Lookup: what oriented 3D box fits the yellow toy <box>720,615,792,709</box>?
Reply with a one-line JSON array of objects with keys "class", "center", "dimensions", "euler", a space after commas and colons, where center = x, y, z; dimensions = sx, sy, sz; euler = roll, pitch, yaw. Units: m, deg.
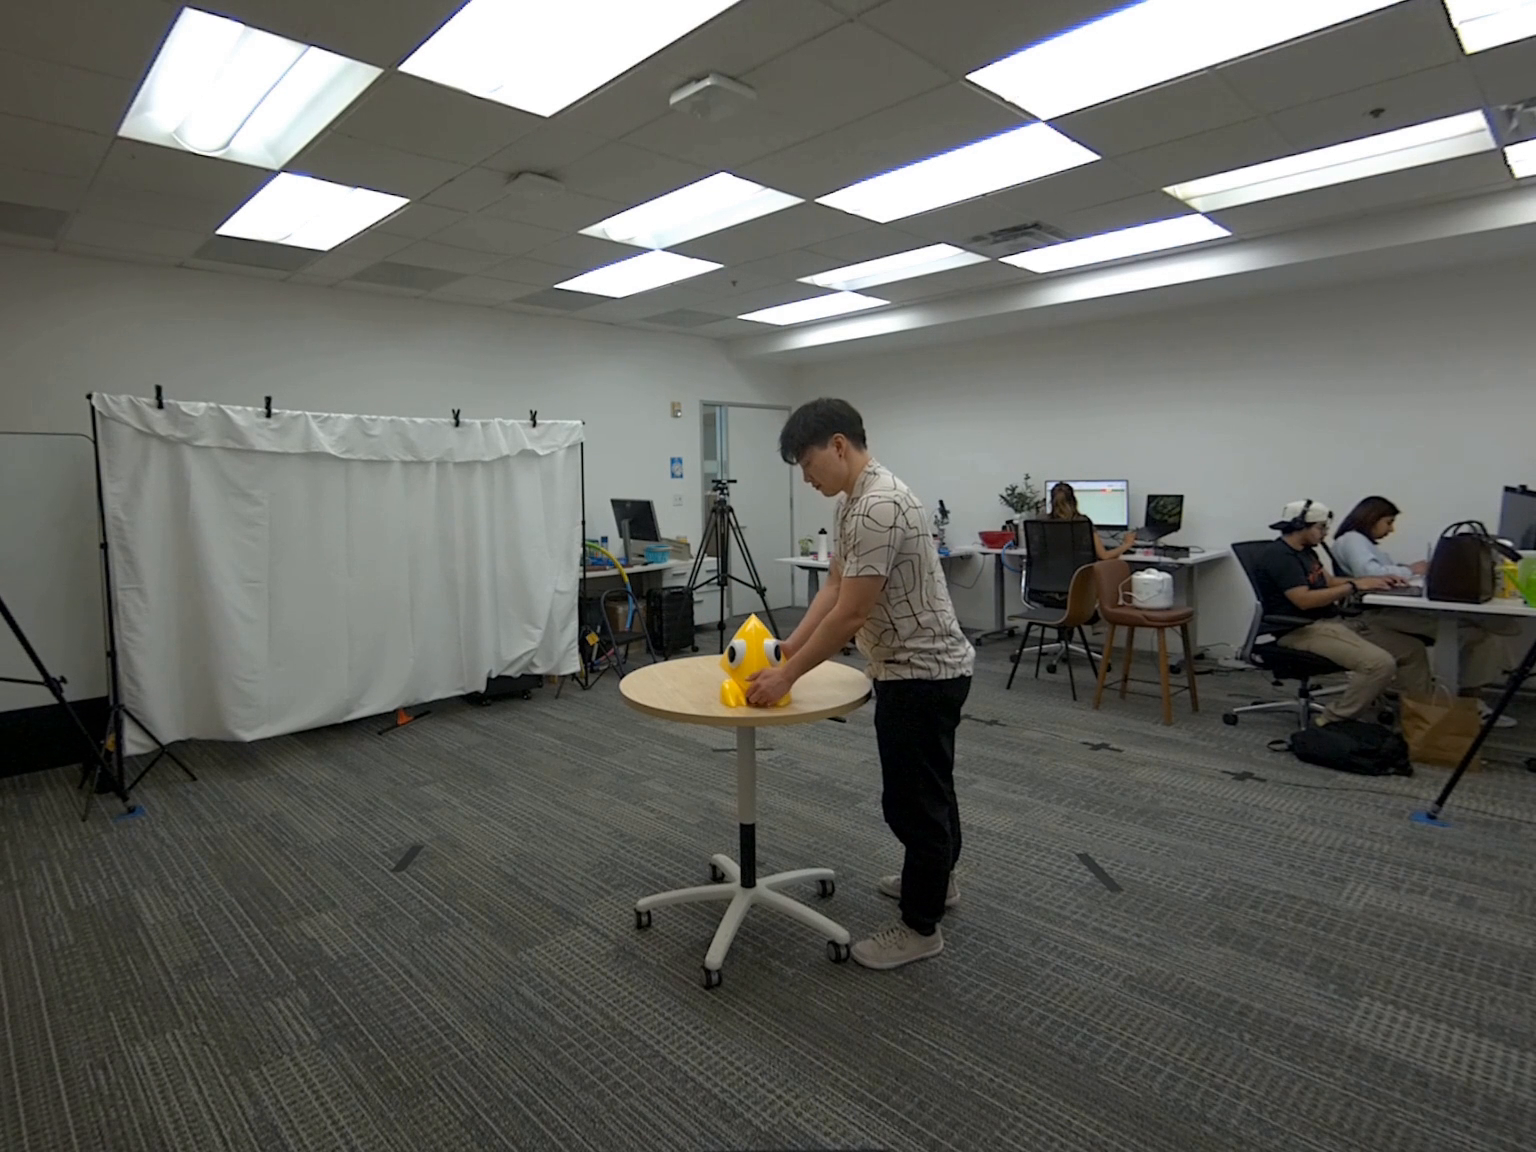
[{"class": "yellow toy", "center": [-0.030, 0.226, 2.394], "dimensions": [0.205, 0.230, 0.193], "euler": [-1, 3, -1]}]
